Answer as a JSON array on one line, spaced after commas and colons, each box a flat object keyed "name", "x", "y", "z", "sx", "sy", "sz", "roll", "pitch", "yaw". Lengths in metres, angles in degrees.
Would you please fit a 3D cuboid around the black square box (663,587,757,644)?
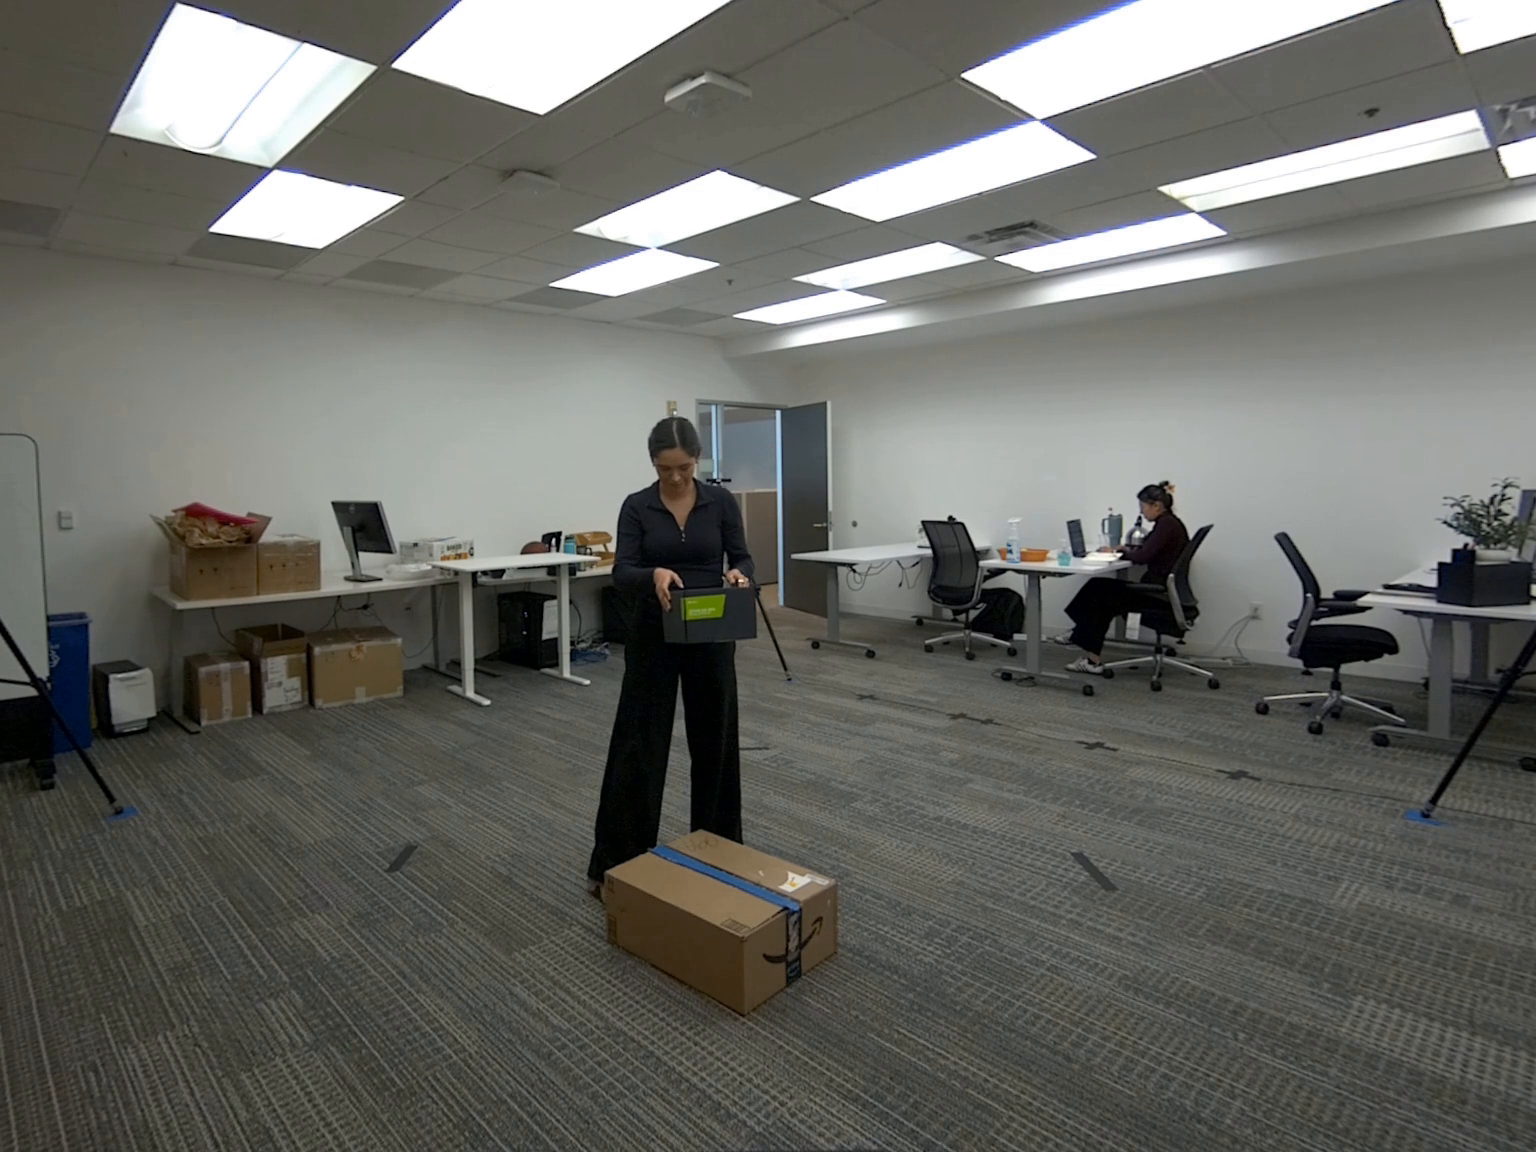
[{"name": "black square box", "x": -0.184, "y": 0.119, "z": 2.608, "sx": 0.223, "sy": 0.156, "sz": 0.220, "roll": -2, "pitch": -2, "yaw": -22}]
